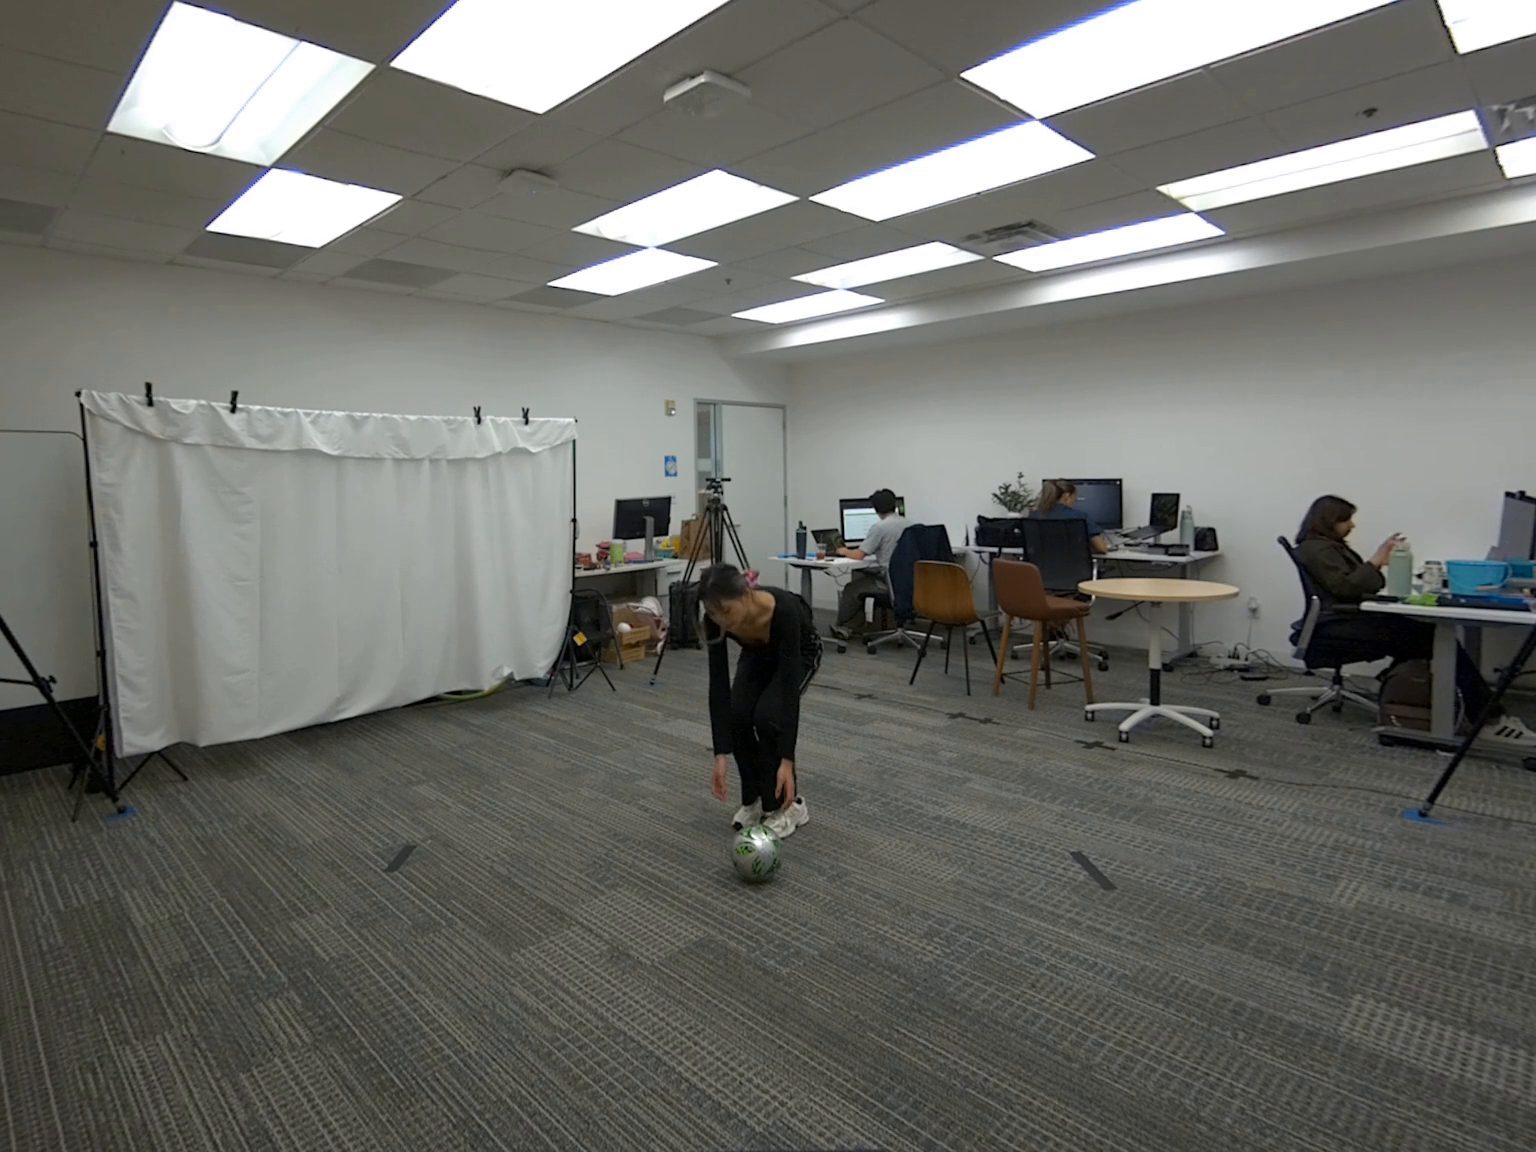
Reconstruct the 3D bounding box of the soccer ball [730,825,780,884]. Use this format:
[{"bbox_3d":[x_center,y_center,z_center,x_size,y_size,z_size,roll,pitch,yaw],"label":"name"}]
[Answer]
[{"bbox_3d":[-0.037,0.969,2.978,0.187,0.187,0.188,-1,5,-2],"label":"soccer ball"}]
